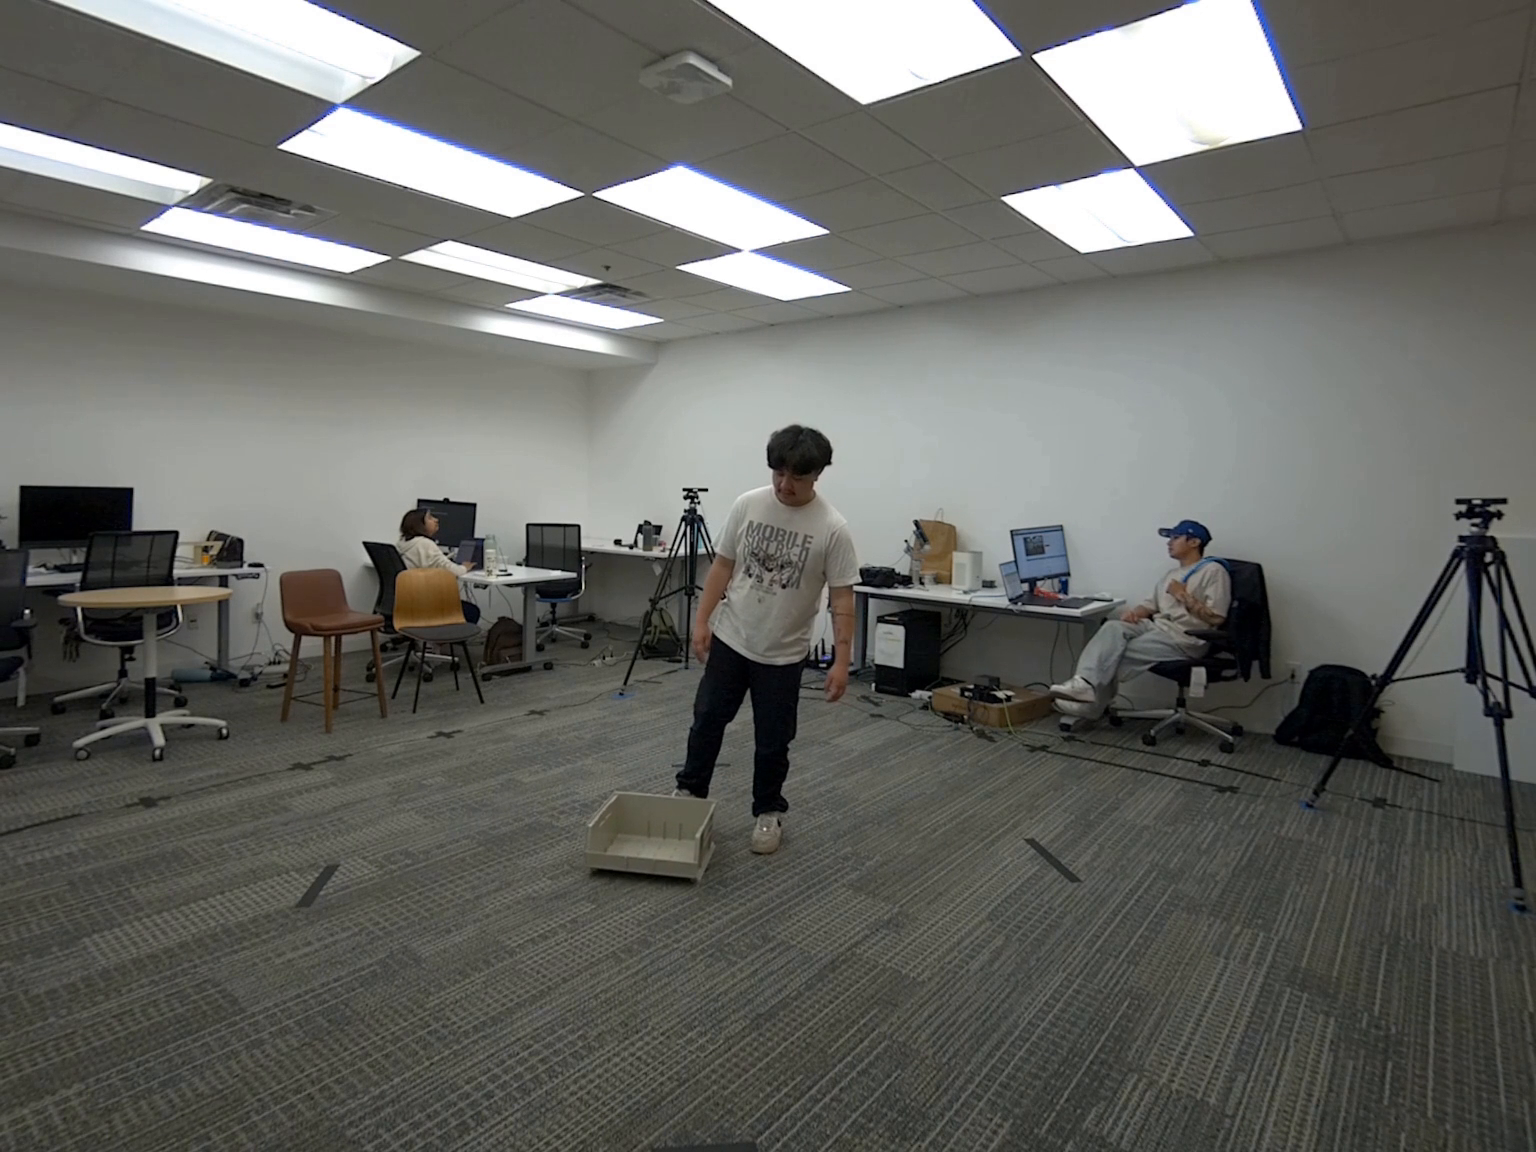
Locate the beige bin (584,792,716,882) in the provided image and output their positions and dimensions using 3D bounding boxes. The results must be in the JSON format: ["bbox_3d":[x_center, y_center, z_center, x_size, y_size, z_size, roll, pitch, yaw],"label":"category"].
[{"bbox_3d":[-0.439,0.974,3.167,0.426,0.188,0.375,1,4,8],"label":"beige bin"}]
